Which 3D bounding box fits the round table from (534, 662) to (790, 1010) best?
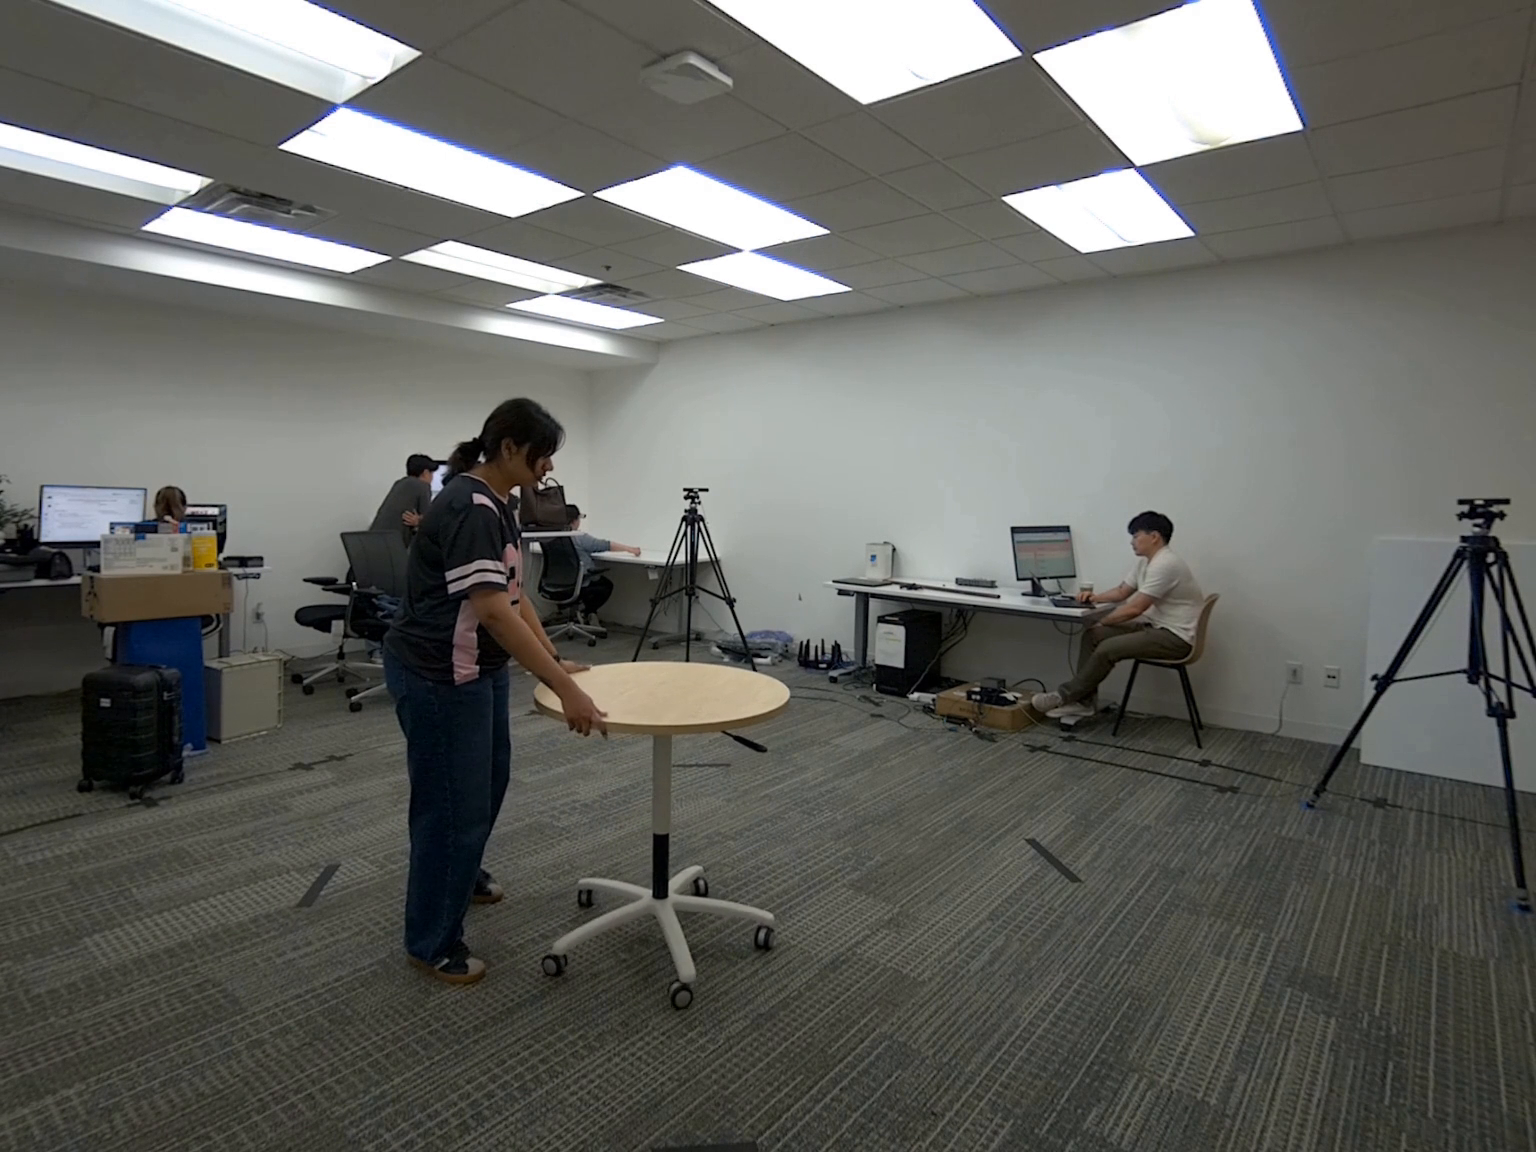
[{"bbox_3d":[-0.342,0.728,2.600,0.784,0.783,0.789,1,5,-2],"label":"round table"}]
